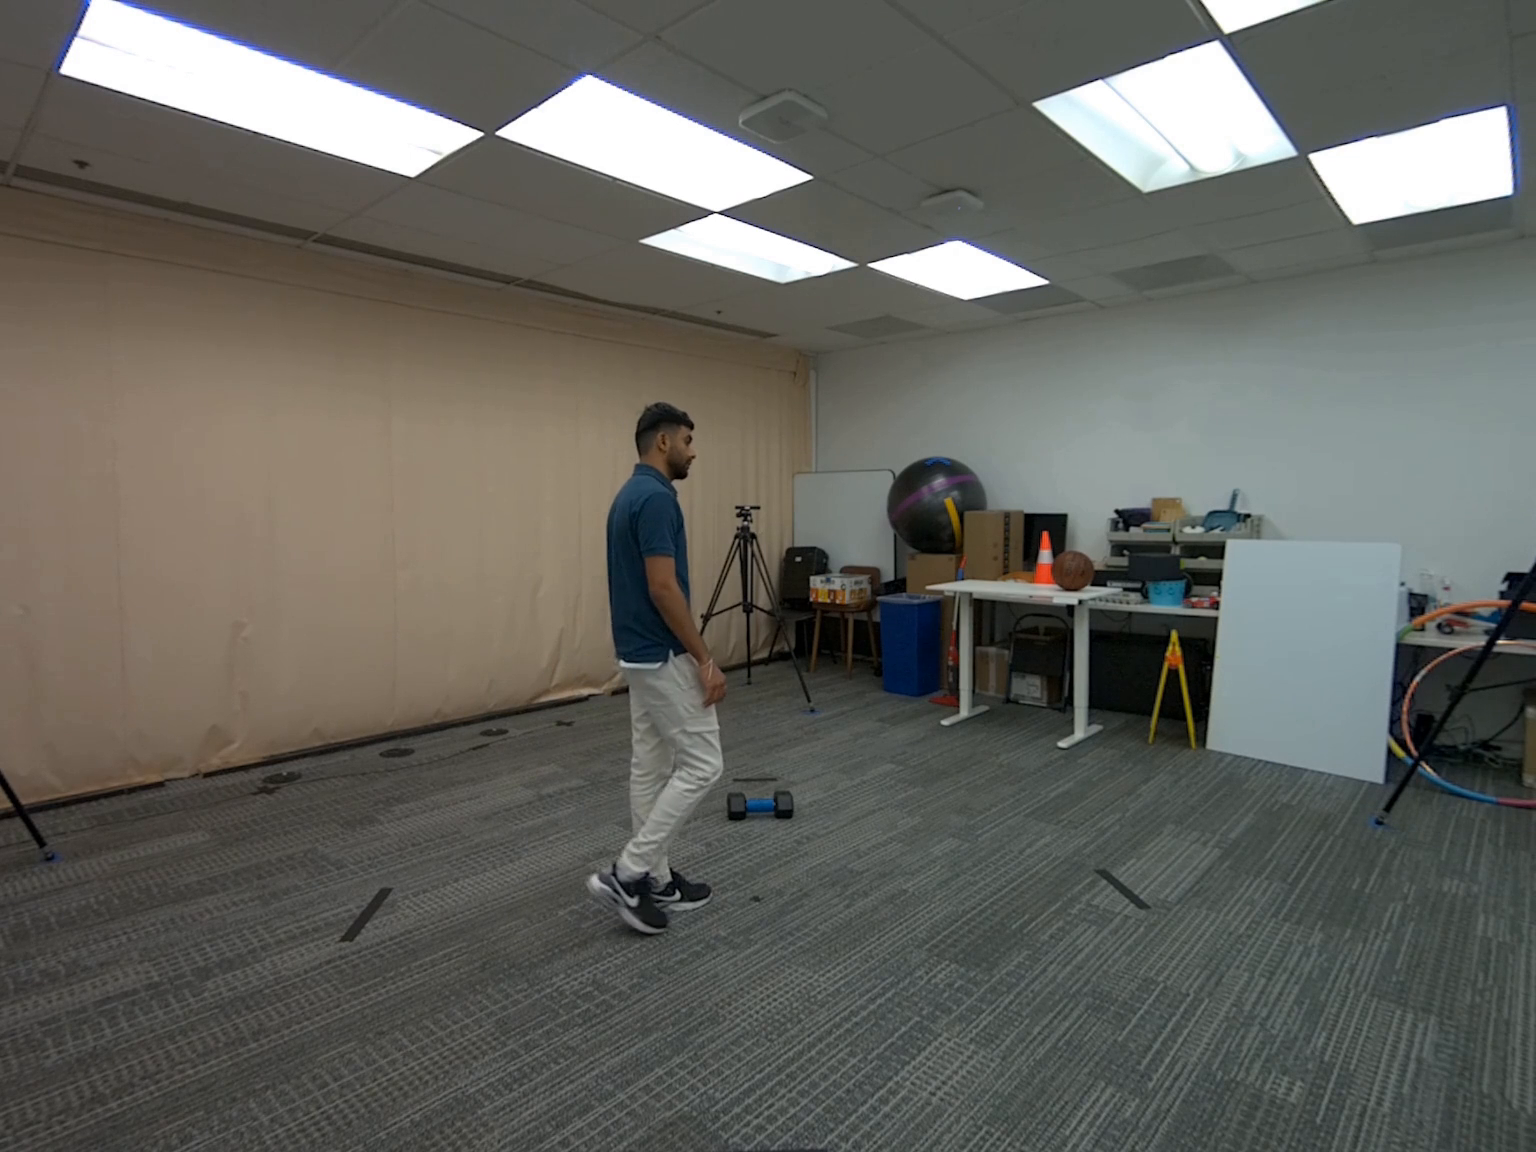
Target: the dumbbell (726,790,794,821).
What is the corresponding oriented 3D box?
[{"bbox_3d":[-0.039,1.027,3.766,0.292,0.108,0.124,0,3,-5],"label":"dumbbell"}]
